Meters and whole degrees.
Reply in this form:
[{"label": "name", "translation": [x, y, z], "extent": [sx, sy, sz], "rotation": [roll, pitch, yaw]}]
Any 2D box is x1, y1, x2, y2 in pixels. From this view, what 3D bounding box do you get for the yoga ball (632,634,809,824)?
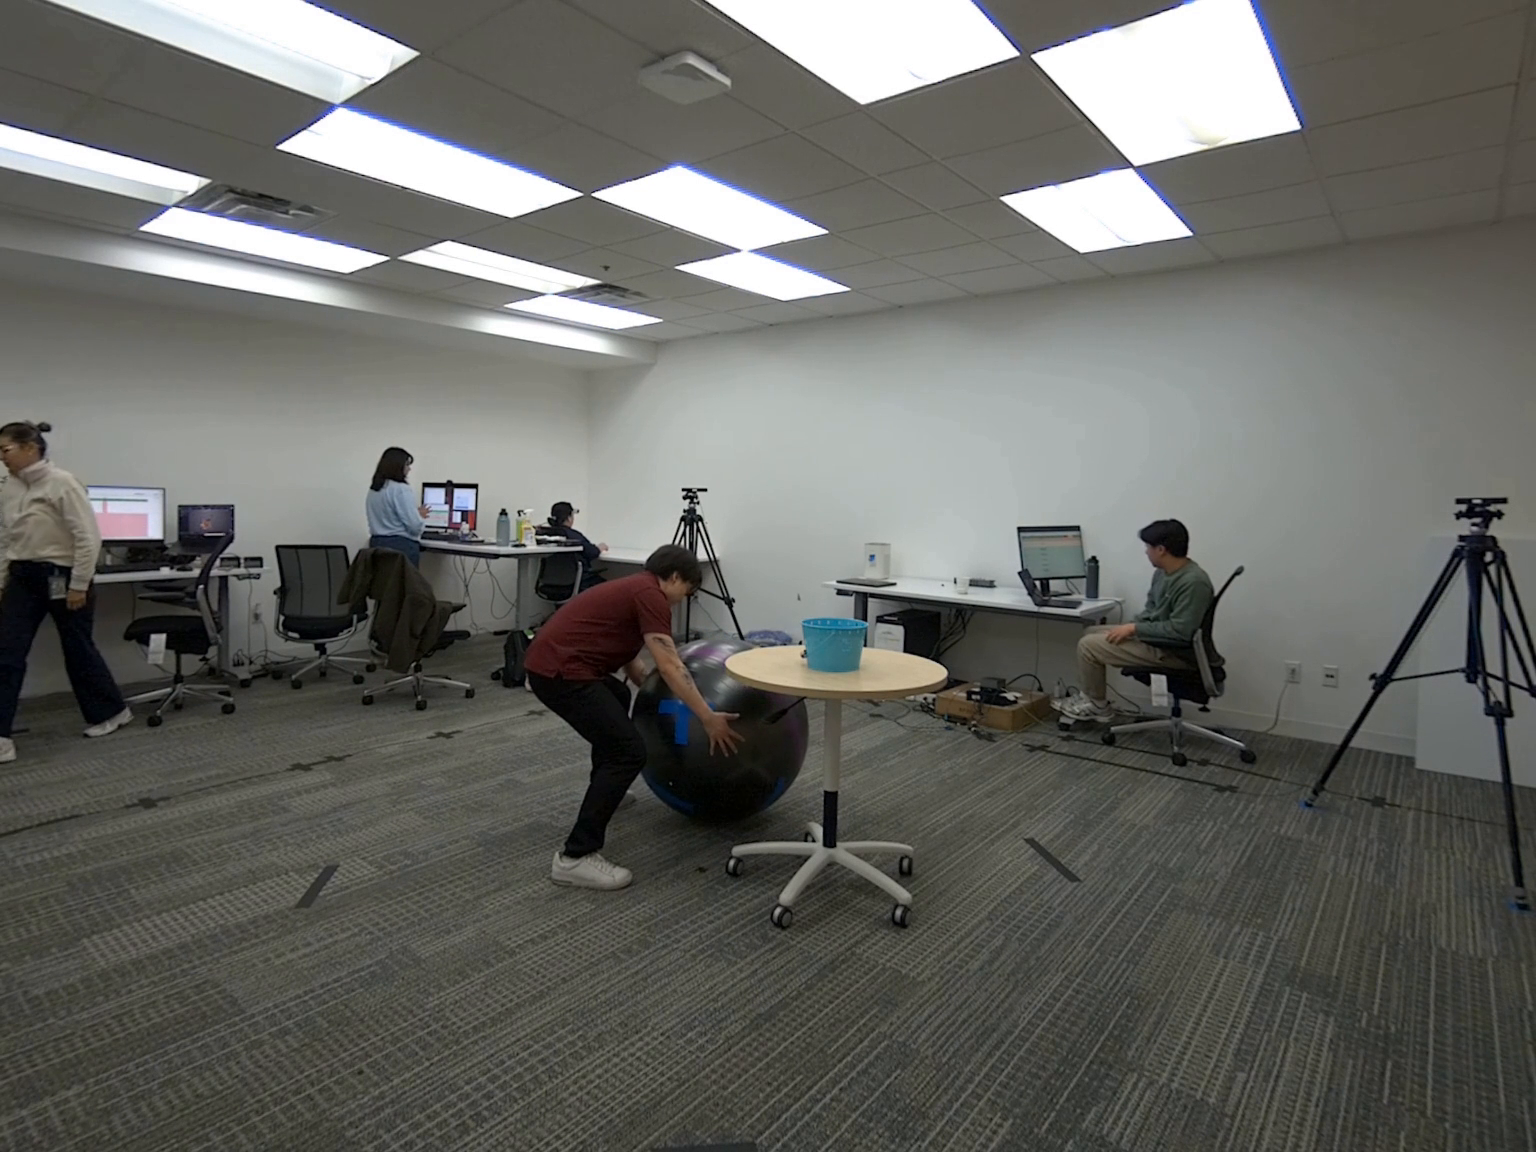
[{"label": "yoga ball", "translation": [-0.215, 0.652, 3.620], "extent": [0.757, 0.756, 0.761], "rotation": [1, 4, -2]}]
